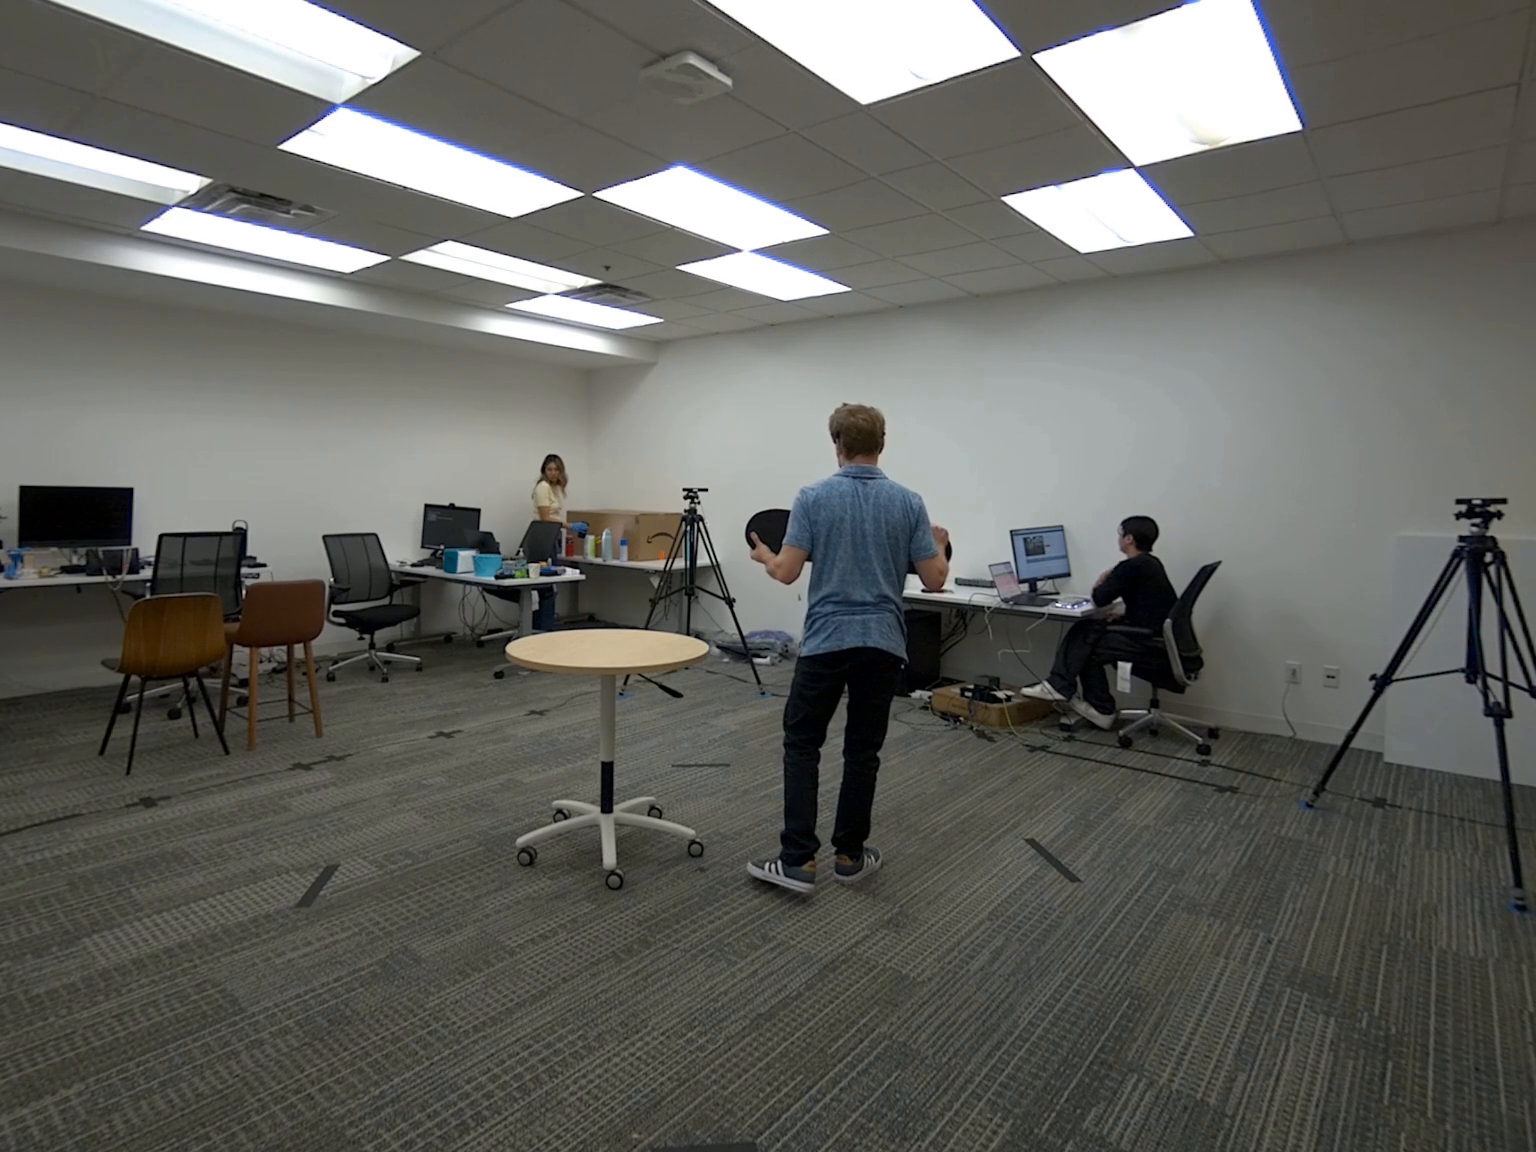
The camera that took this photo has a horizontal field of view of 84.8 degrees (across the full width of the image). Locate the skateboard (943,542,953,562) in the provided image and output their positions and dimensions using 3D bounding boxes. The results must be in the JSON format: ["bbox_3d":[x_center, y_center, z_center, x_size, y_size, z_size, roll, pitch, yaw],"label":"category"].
[{"bbox_3d":[0.283,-0.138,3.285,0.788,0.192,0.111,7,9,3],"label":"skateboard"}]
